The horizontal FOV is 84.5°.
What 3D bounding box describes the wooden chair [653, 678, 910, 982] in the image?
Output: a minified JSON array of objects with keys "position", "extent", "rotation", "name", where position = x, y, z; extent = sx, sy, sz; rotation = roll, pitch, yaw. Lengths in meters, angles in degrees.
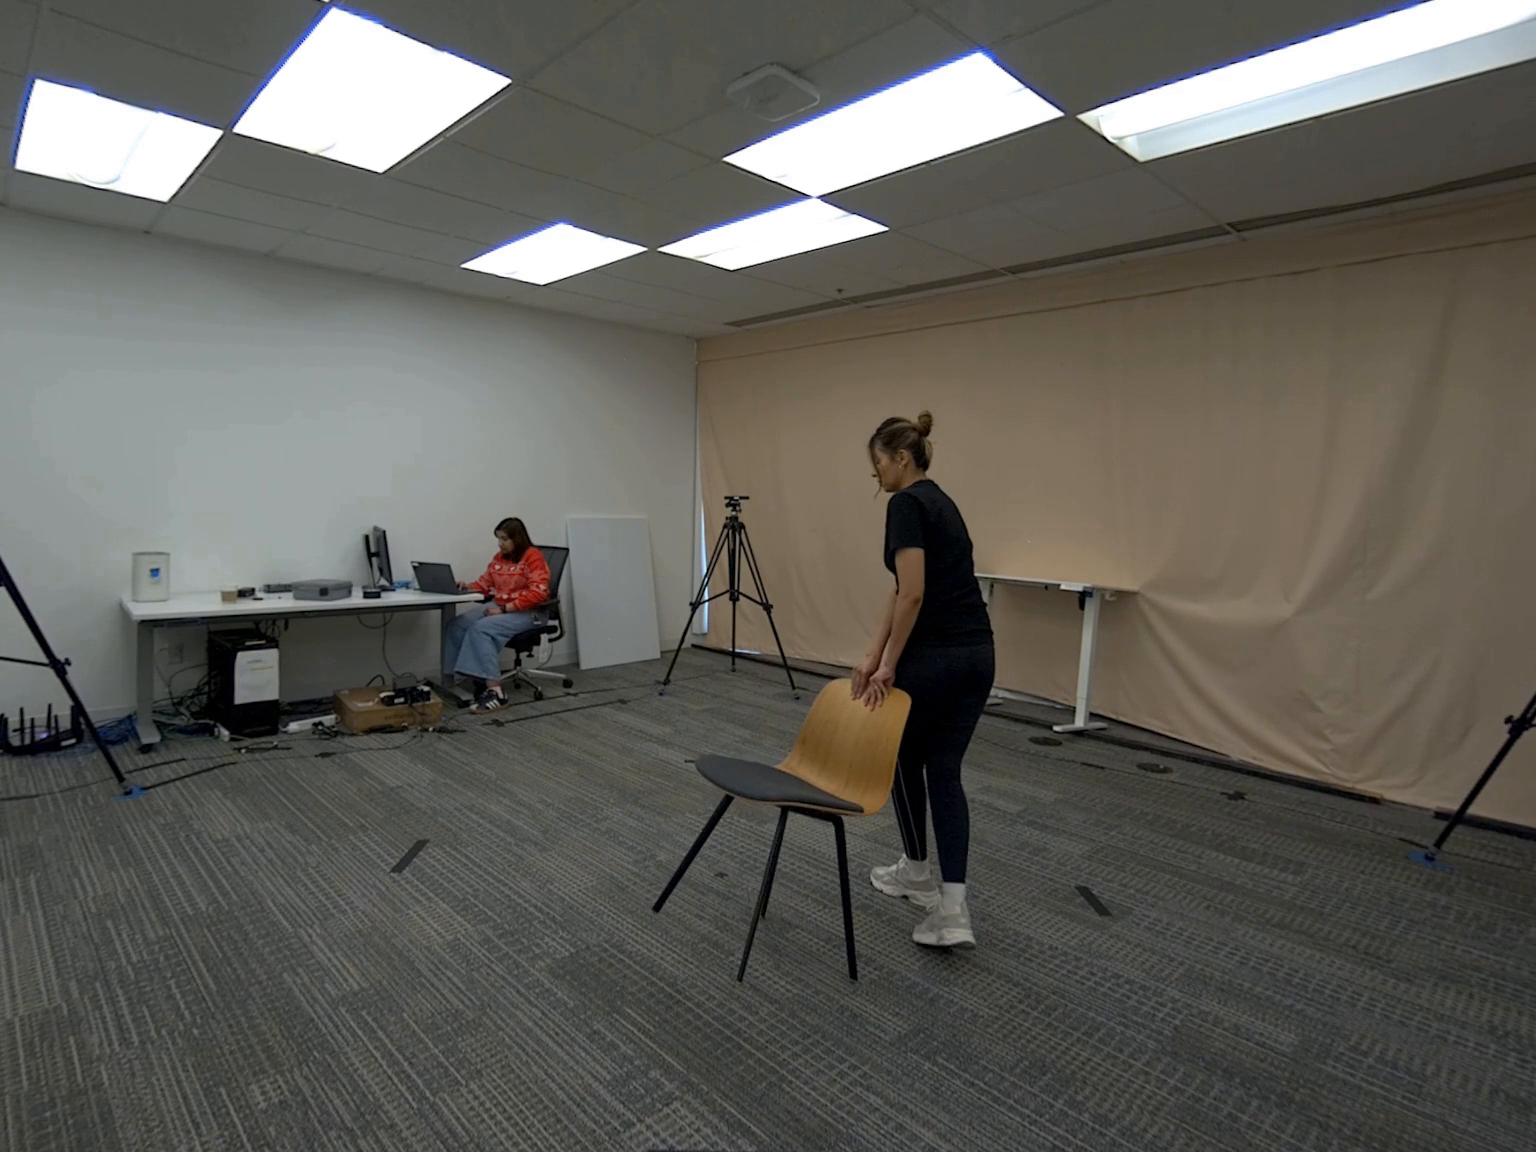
[{"position":[0.051,0.688,2.530],"extent":[0.508,0.881,0.490],"rotation":[24,-10,-36],"name":"wooden chair"}]
